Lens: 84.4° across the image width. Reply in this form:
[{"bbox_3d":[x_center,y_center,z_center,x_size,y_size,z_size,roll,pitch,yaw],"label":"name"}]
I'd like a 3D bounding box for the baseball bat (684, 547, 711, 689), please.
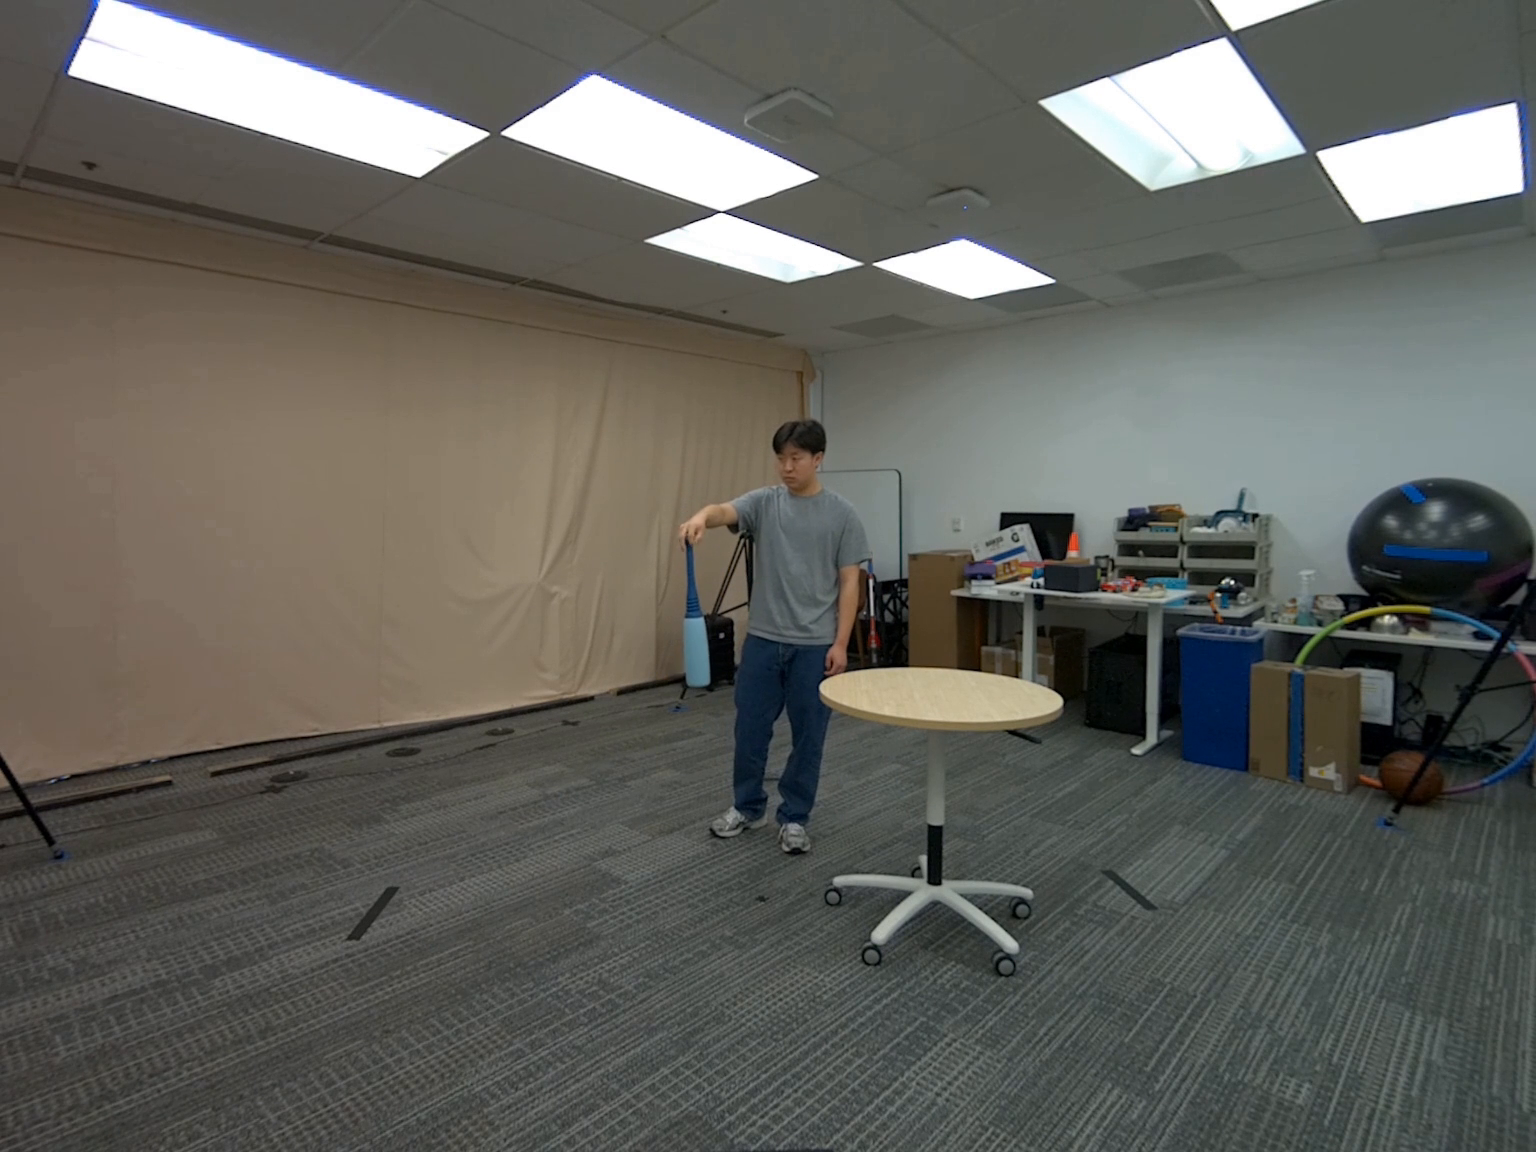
[{"bbox_3d":[-0.271,0.124,3.031,0.089,0.541,0.089,-6,3,-1],"label":"baseball bat"}]
